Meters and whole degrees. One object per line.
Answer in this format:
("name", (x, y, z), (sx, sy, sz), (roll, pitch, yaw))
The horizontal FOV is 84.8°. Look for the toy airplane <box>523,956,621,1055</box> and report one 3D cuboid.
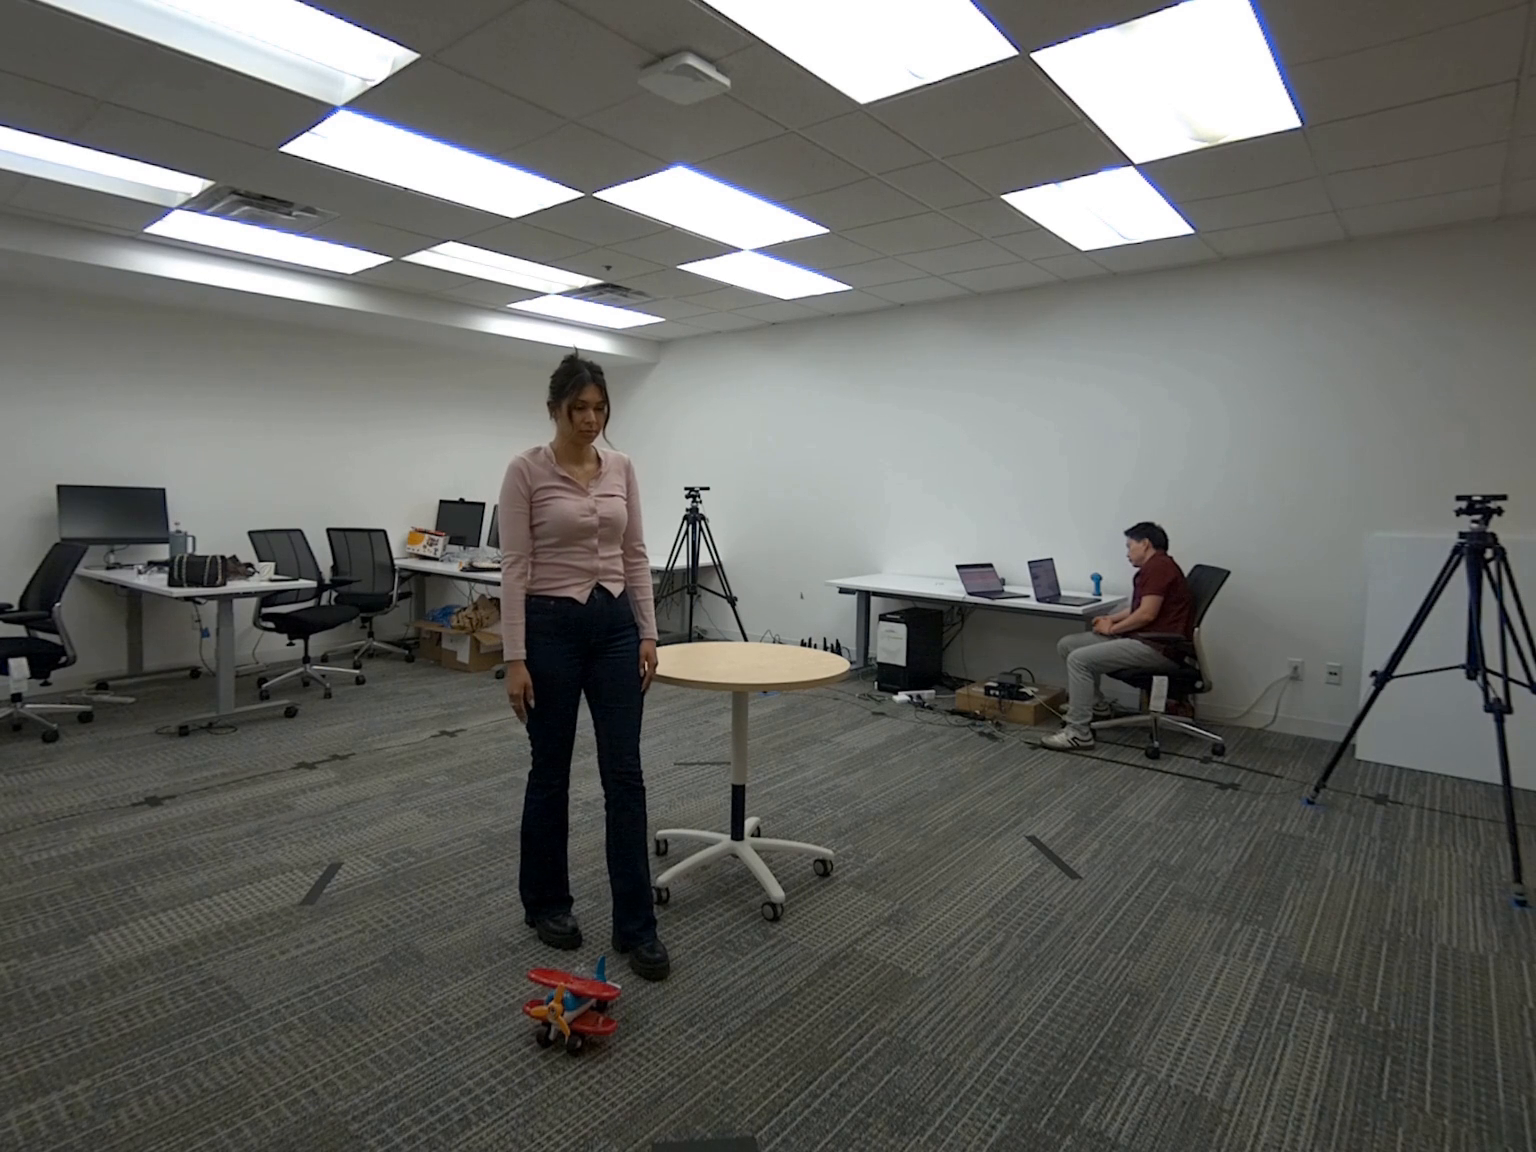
("toy airplane", (-0.508, 1.080, 2.183), (0.249, 0.156, 0.263), (0, 6, -9))
